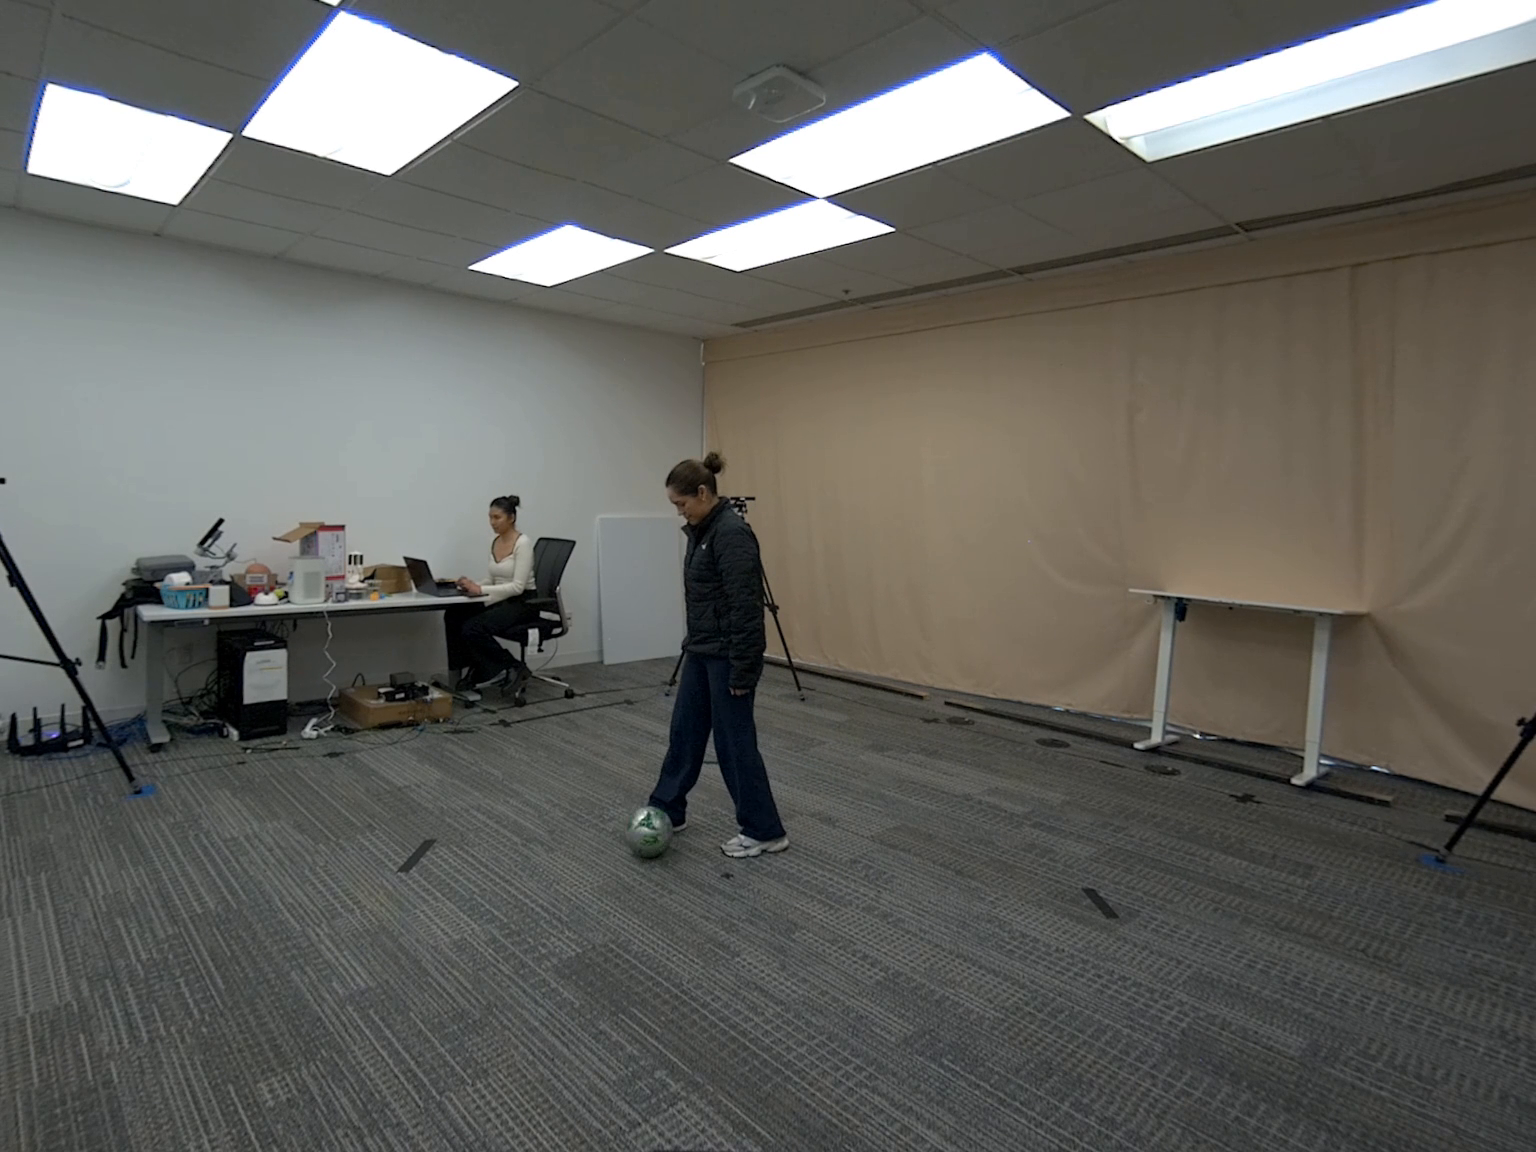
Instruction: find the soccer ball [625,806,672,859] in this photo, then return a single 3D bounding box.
[{"bbox_3d":[-0.475,0.990,3.263,0.187,0.187,0.188,1,4,-1],"label":"soccer ball"}]
